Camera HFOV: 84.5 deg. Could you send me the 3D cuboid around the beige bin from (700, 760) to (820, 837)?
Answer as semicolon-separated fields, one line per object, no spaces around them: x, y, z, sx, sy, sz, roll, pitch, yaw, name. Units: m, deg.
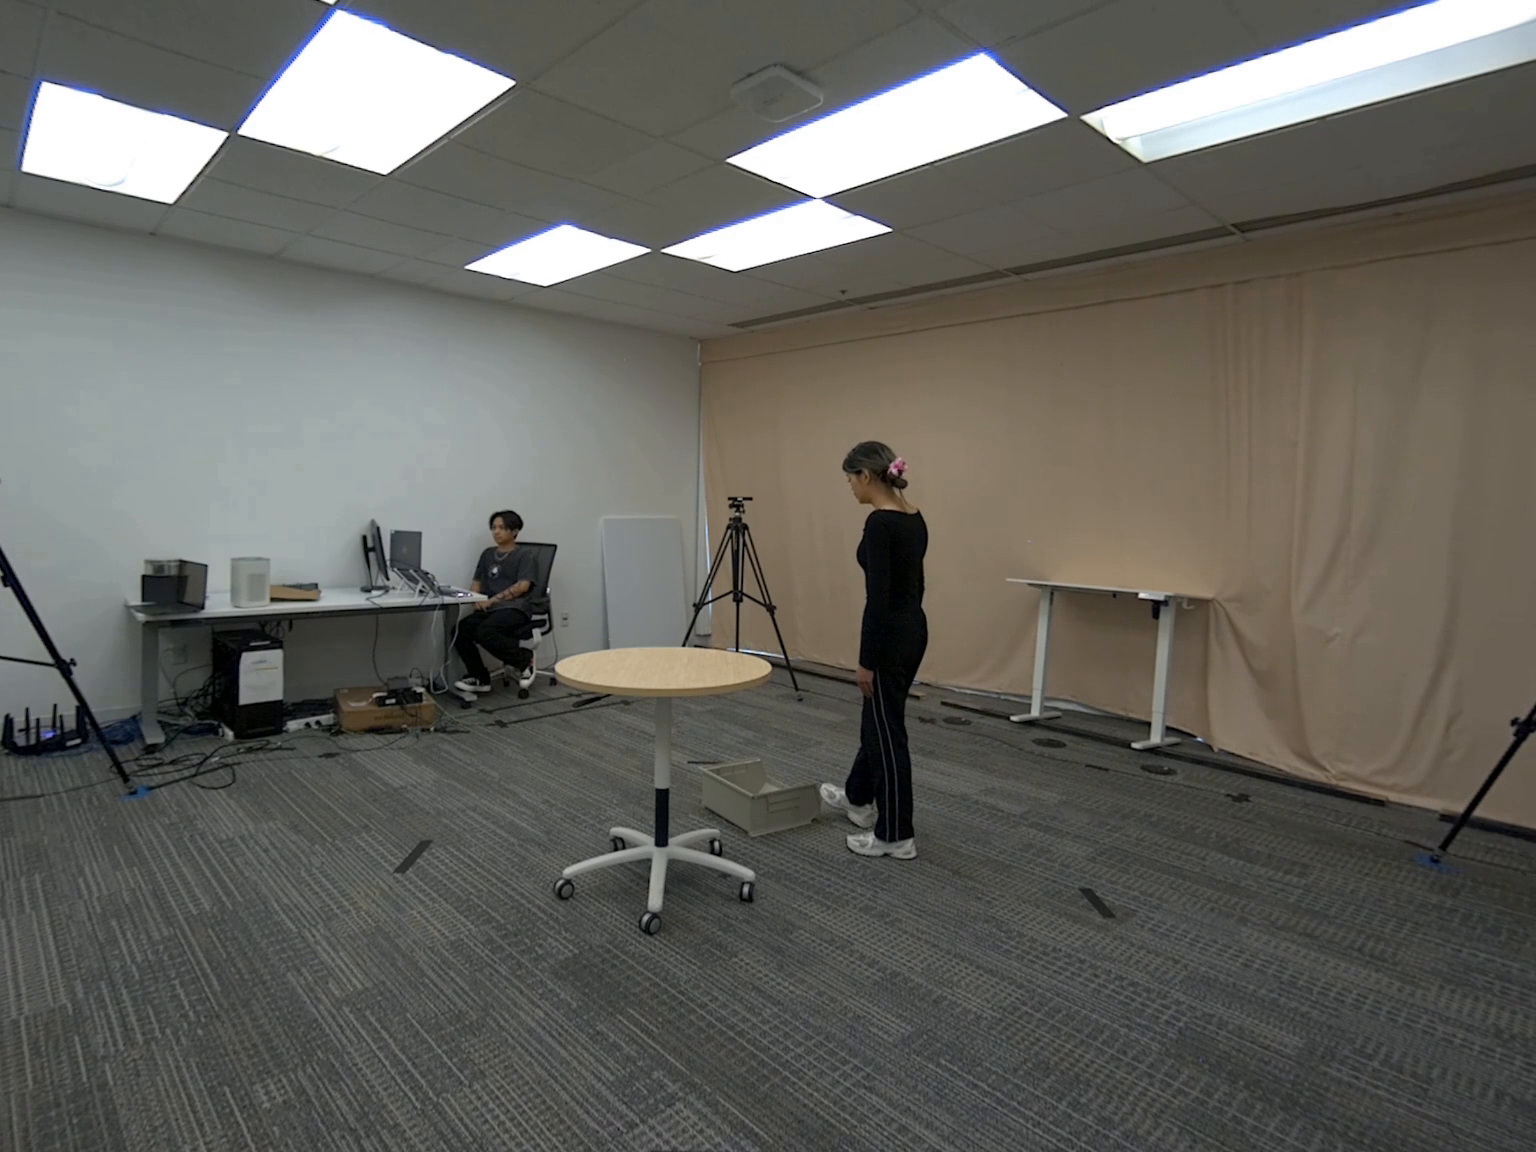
-0.049;0.965;3.737;0.369;0.188;0.433;-2;6;-35;beige bin
